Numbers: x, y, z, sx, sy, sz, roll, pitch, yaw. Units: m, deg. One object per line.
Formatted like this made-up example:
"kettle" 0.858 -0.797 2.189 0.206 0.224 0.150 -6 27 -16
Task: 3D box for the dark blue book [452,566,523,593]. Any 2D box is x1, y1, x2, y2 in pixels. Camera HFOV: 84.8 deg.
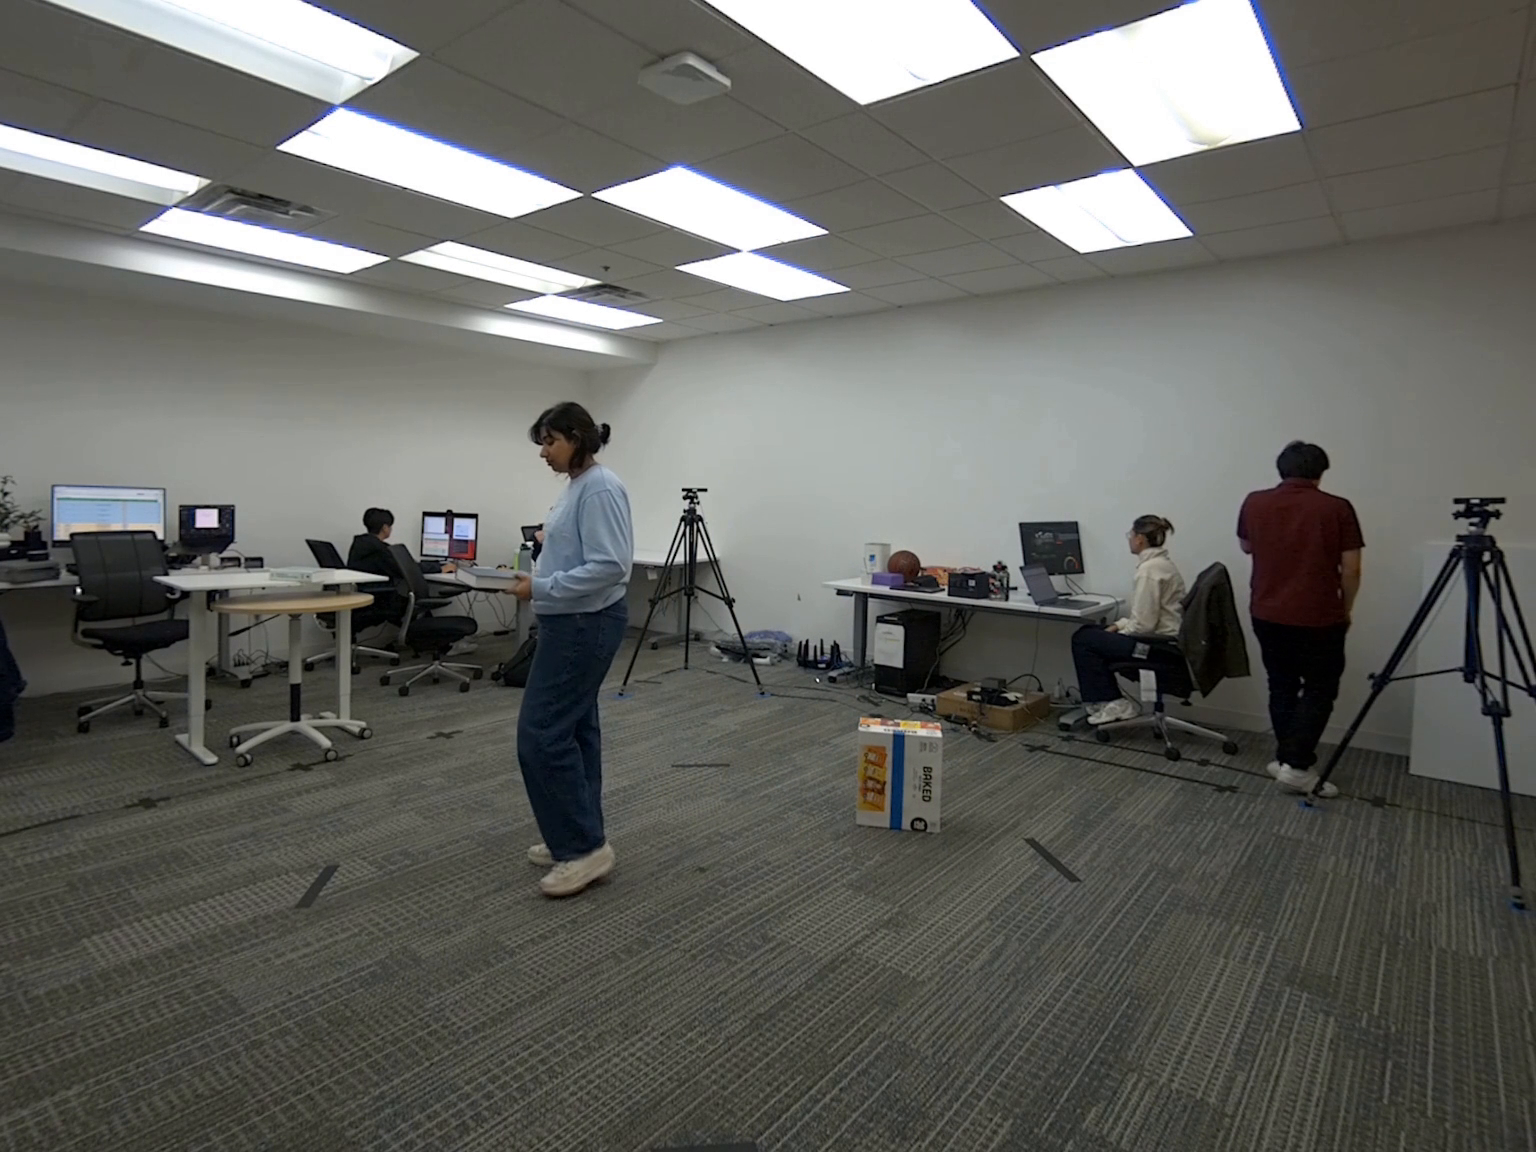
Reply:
"dark blue book" -0.934 0.005 2.866 0.237 0.045 0.169 6 3 -39
